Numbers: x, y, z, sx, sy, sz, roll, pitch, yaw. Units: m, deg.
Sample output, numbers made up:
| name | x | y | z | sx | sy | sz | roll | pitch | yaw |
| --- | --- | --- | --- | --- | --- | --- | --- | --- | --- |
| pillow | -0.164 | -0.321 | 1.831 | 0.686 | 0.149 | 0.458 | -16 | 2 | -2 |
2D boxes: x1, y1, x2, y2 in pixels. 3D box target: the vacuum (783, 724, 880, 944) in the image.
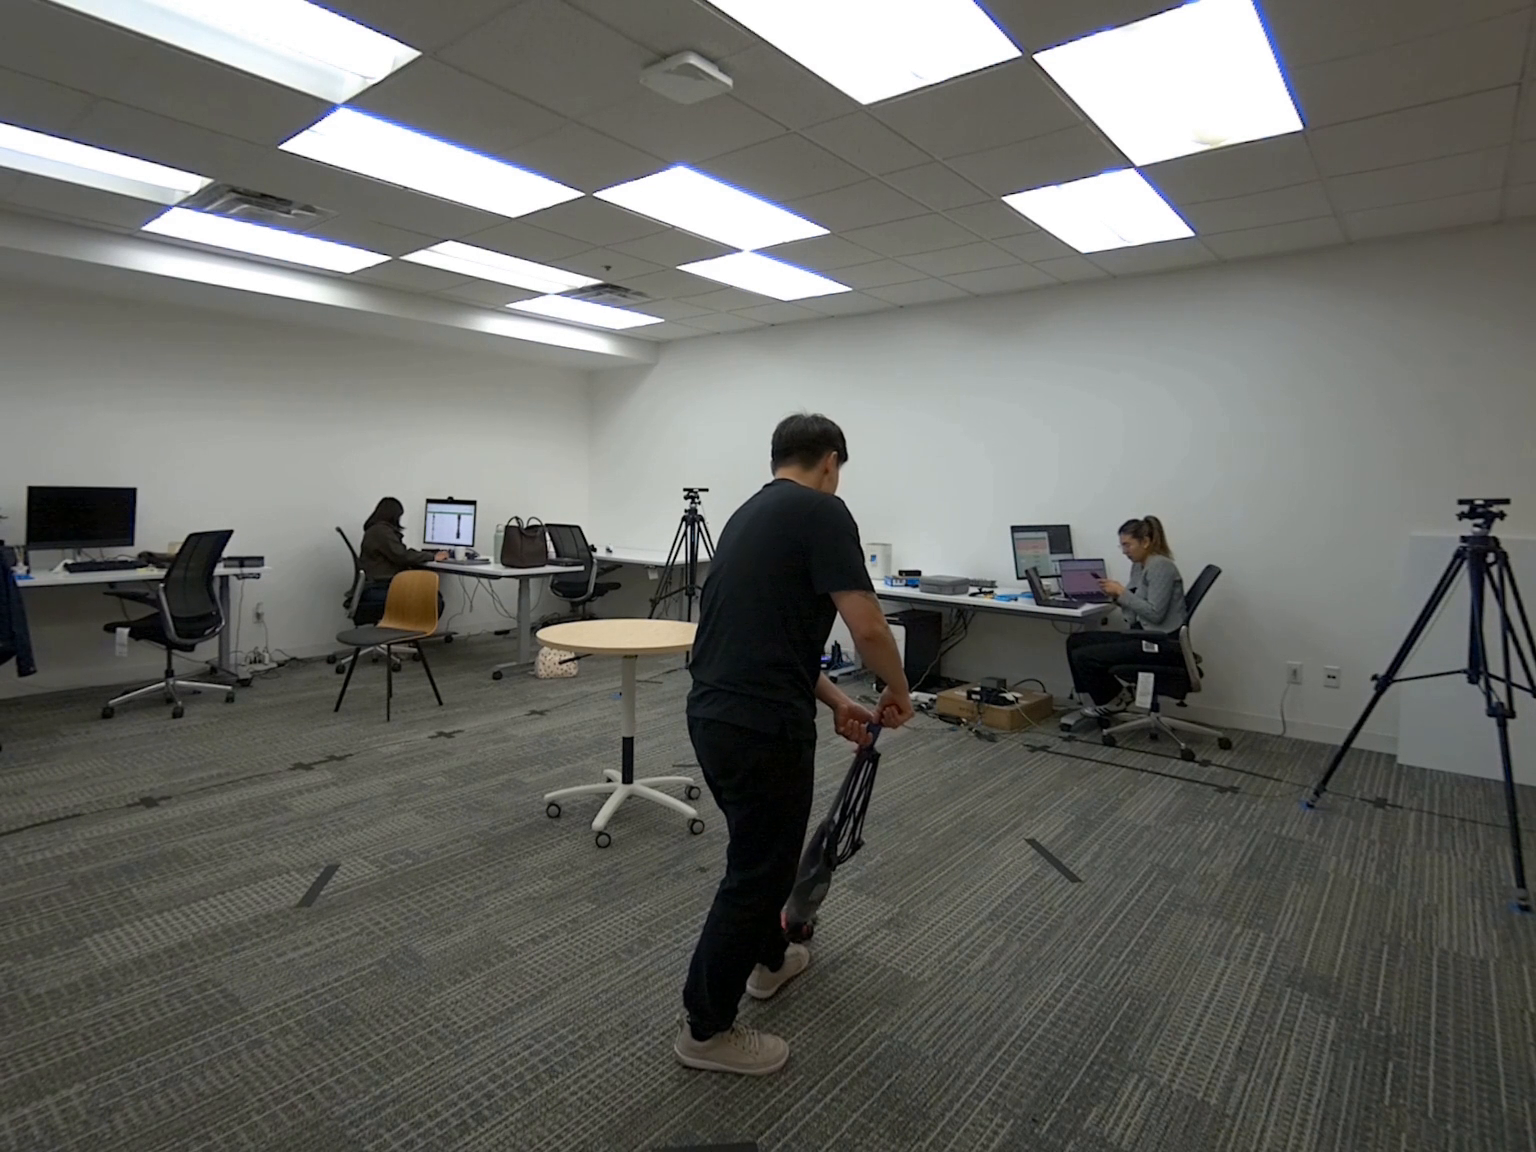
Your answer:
| name | x | y | z | sx | sy | sz | roll | pitch | yaw |
| --- | --- | --- | --- | --- | --- | --- | --- | --- | --- |
| vacuum | 0.175 | 0.726 | 2.381 | 0.248 | 1.031 | 0.149 | 6 | 40 | -16 |
